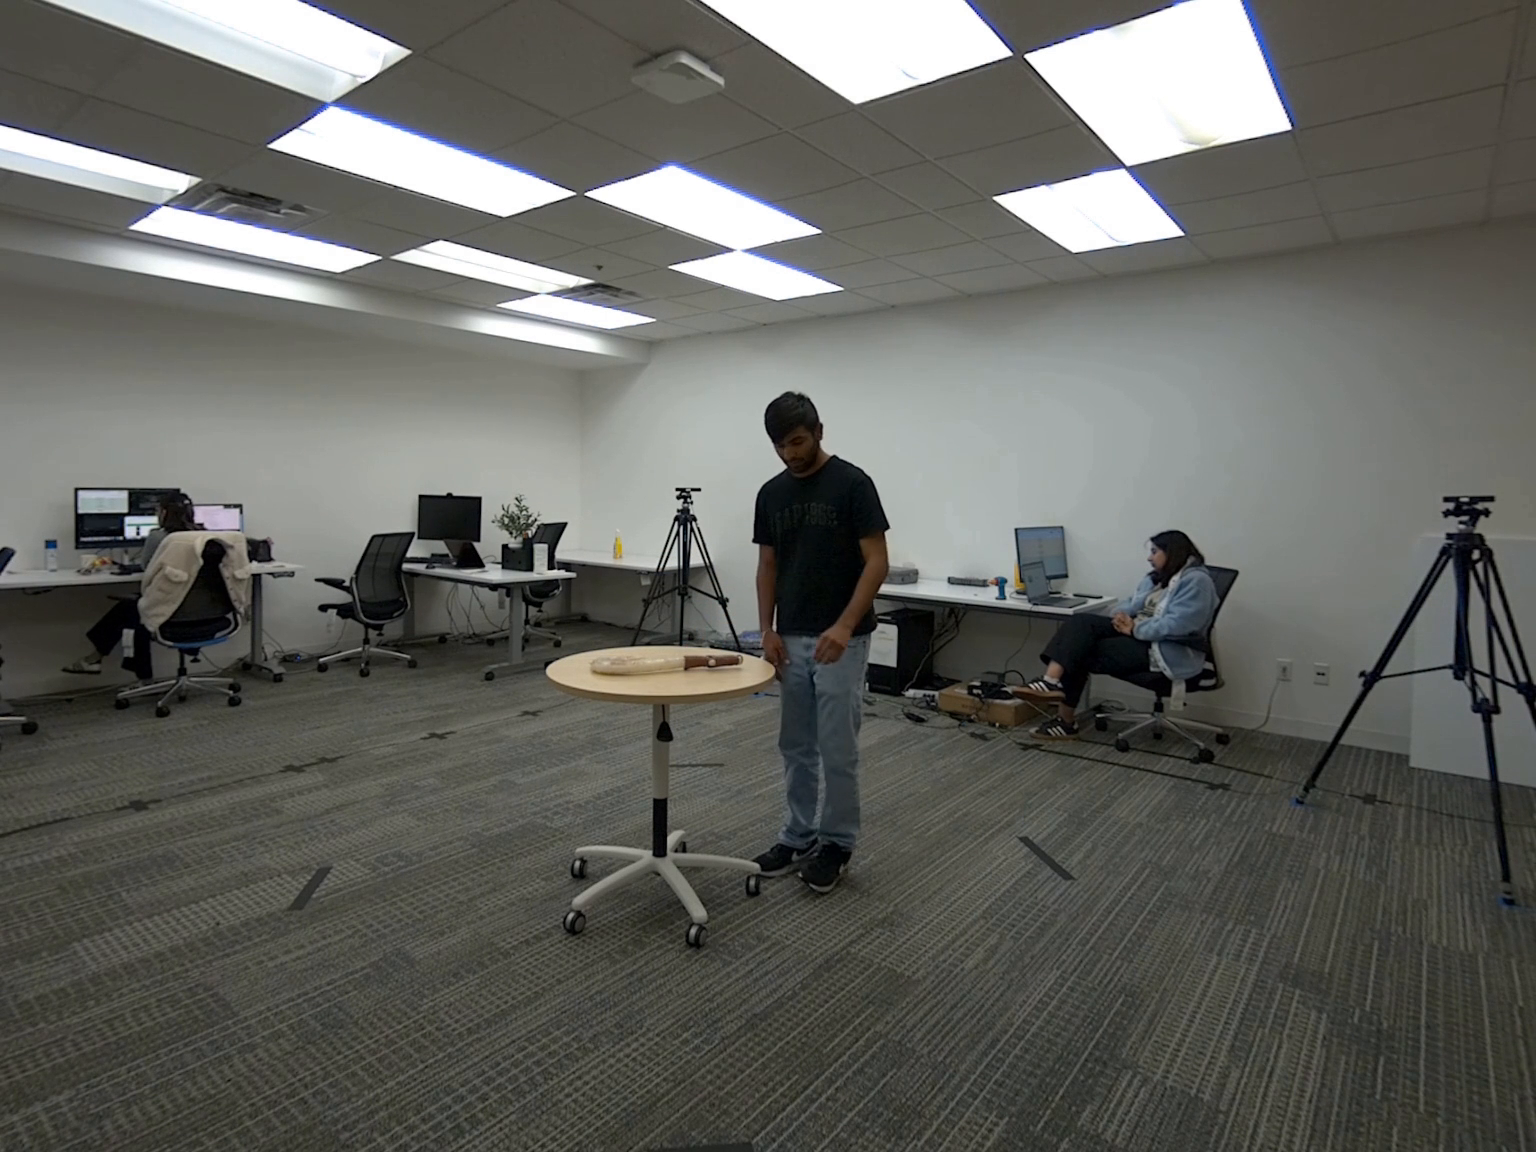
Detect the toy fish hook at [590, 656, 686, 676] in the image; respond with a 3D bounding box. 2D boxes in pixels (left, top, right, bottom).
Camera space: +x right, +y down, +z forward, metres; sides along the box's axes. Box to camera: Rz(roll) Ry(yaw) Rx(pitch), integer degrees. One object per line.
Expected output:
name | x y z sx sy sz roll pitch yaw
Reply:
toy fish hook | -0.355 0.285 2.872 0.500 0.048 0.229 -1 8 -12
